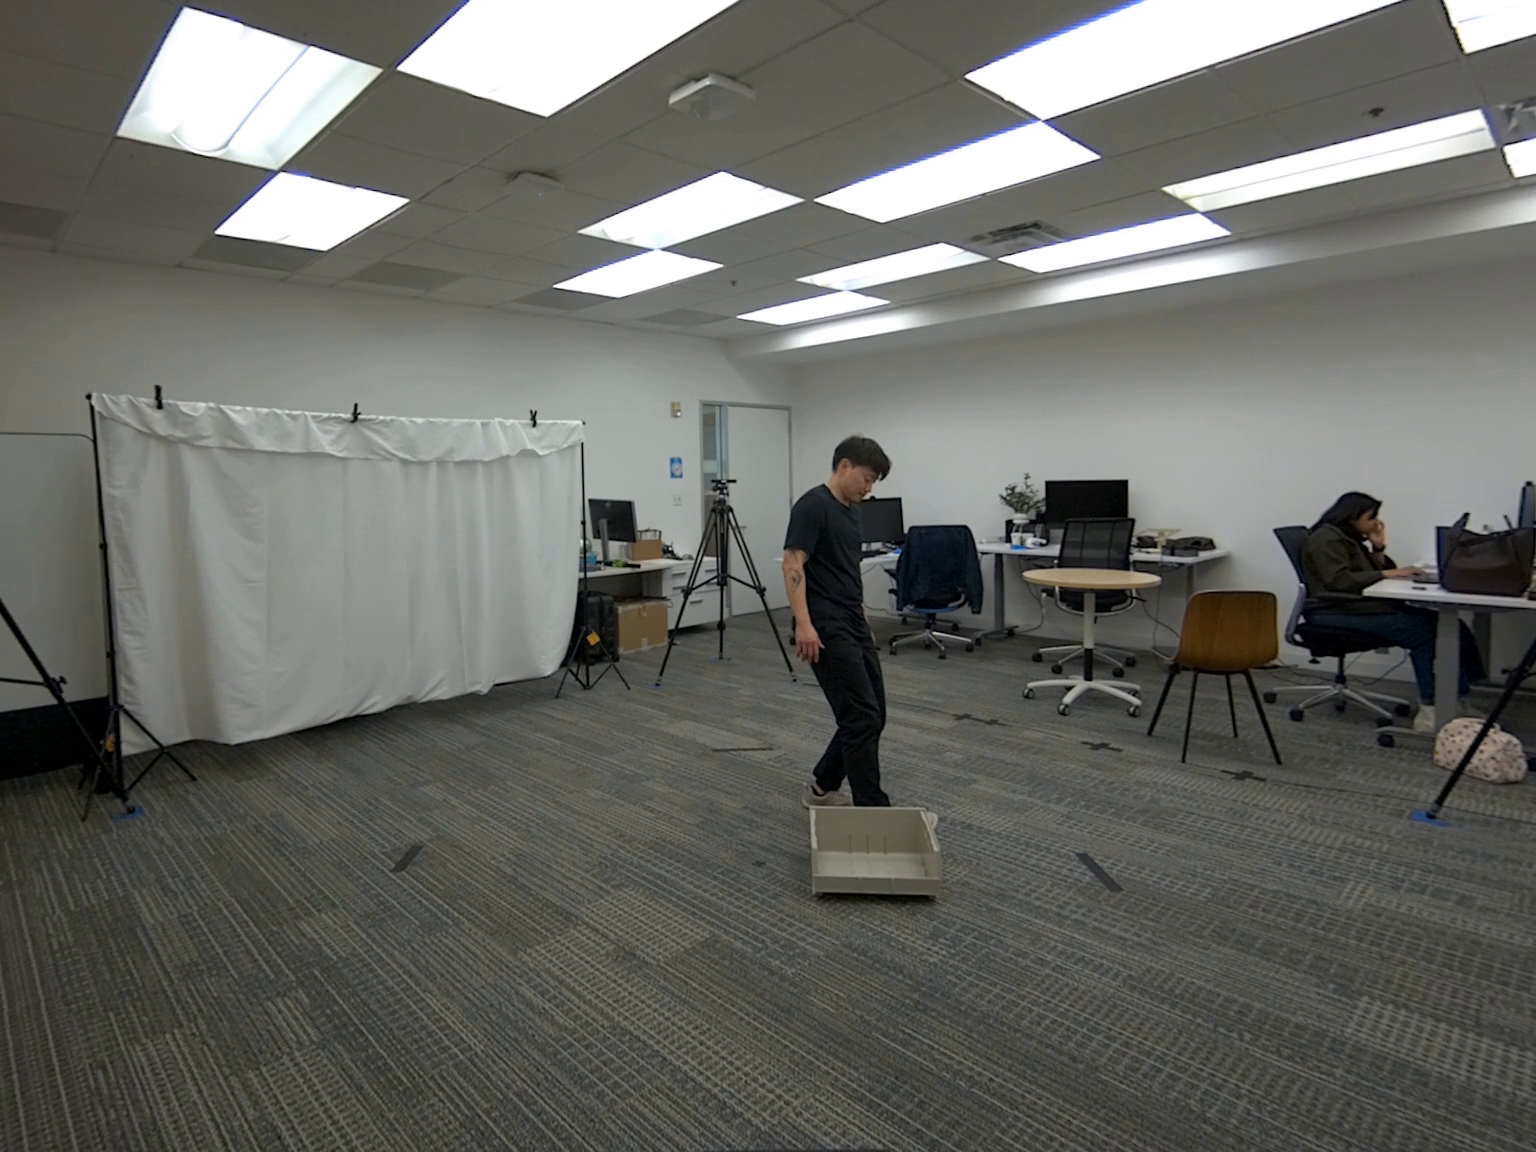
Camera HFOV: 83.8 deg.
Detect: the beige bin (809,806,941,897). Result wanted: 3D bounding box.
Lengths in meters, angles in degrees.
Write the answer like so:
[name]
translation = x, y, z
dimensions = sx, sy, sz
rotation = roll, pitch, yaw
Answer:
[beige bin]
translation = 0.363, 0.966, 2.977
dimensions = 0.424, 0.188, 0.377
rotation = -2, 5, 4
